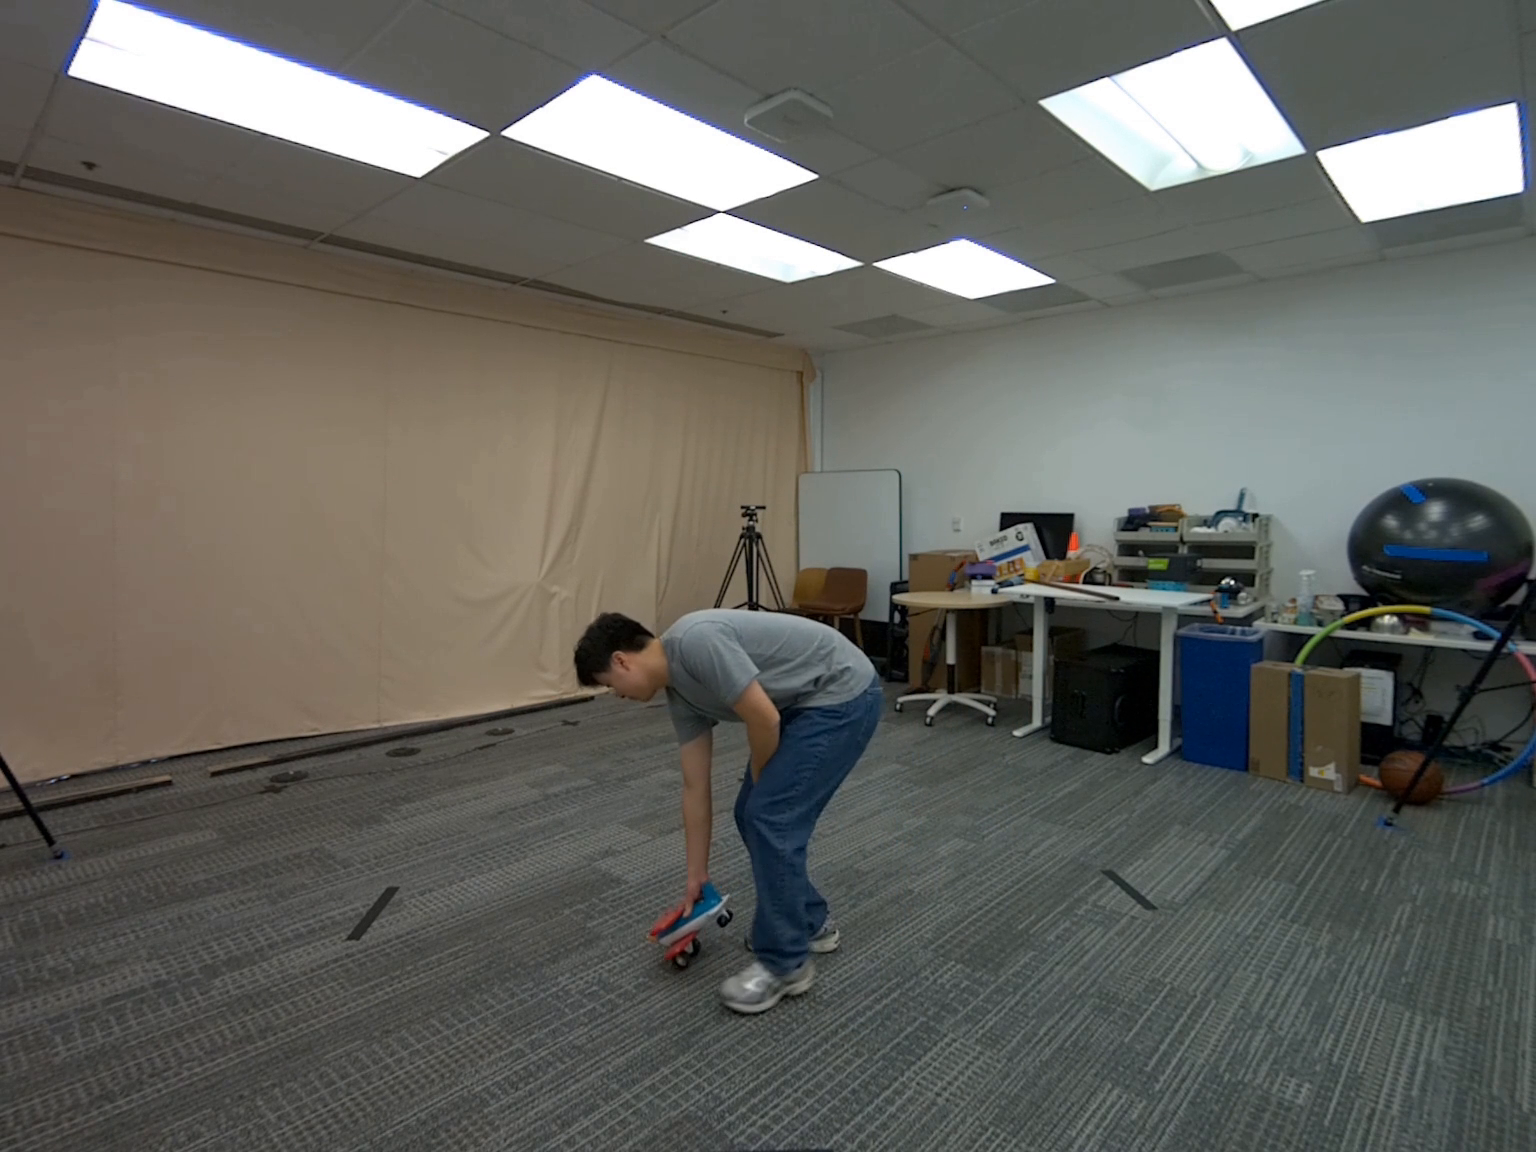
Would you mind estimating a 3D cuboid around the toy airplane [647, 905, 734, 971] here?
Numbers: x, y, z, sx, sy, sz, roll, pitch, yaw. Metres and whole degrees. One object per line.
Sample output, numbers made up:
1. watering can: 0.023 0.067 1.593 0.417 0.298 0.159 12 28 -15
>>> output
1. toy airplane: -0.223 1.066 2.576 0.258 0.159 0.248 -43 -12 -14
